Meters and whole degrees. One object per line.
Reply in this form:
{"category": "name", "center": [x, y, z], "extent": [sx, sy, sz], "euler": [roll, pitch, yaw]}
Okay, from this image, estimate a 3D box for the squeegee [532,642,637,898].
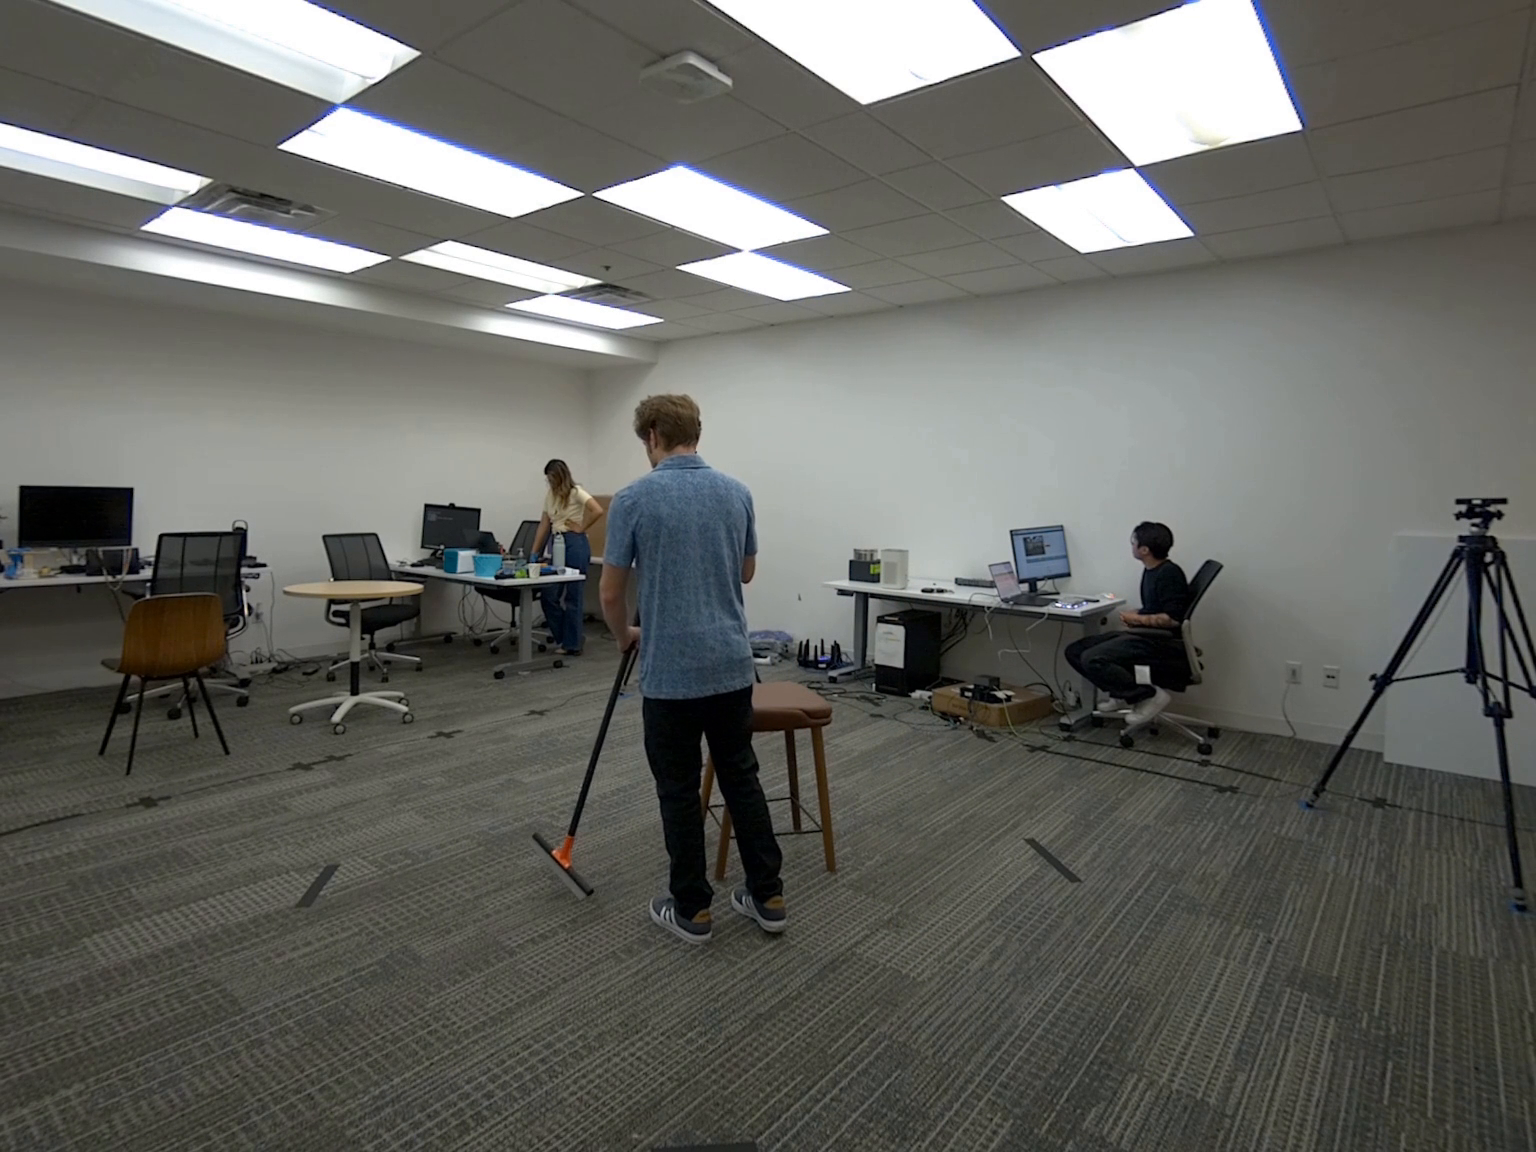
{"category": "squeegee", "center": [-0.502, 0.279, 2.936], "extent": [0.051, 1.540, 0.453], "euler": [19, -3, -38]}
